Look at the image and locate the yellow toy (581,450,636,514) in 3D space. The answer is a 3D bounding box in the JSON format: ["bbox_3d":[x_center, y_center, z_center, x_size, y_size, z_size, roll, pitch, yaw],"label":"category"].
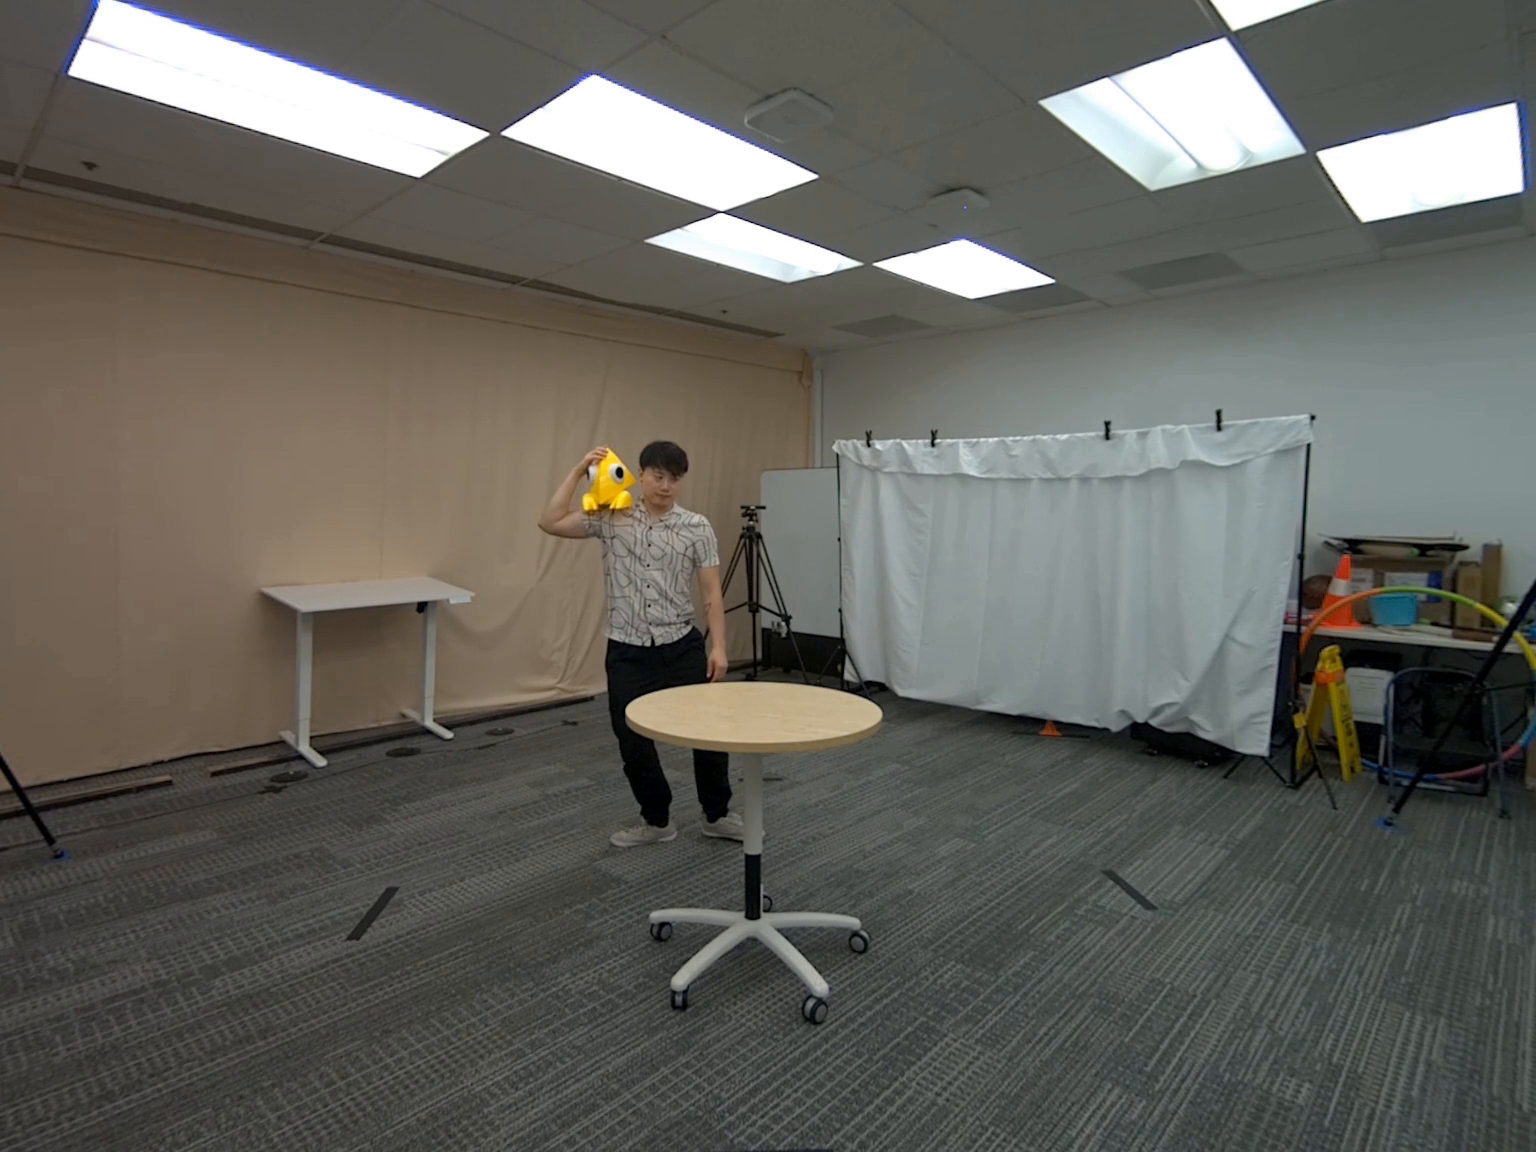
[{"bbox_3d":[-0.644,-0.391,3.355,0.207,0.229,0.193,-1,12,9],"label":"yellow toy"}]
